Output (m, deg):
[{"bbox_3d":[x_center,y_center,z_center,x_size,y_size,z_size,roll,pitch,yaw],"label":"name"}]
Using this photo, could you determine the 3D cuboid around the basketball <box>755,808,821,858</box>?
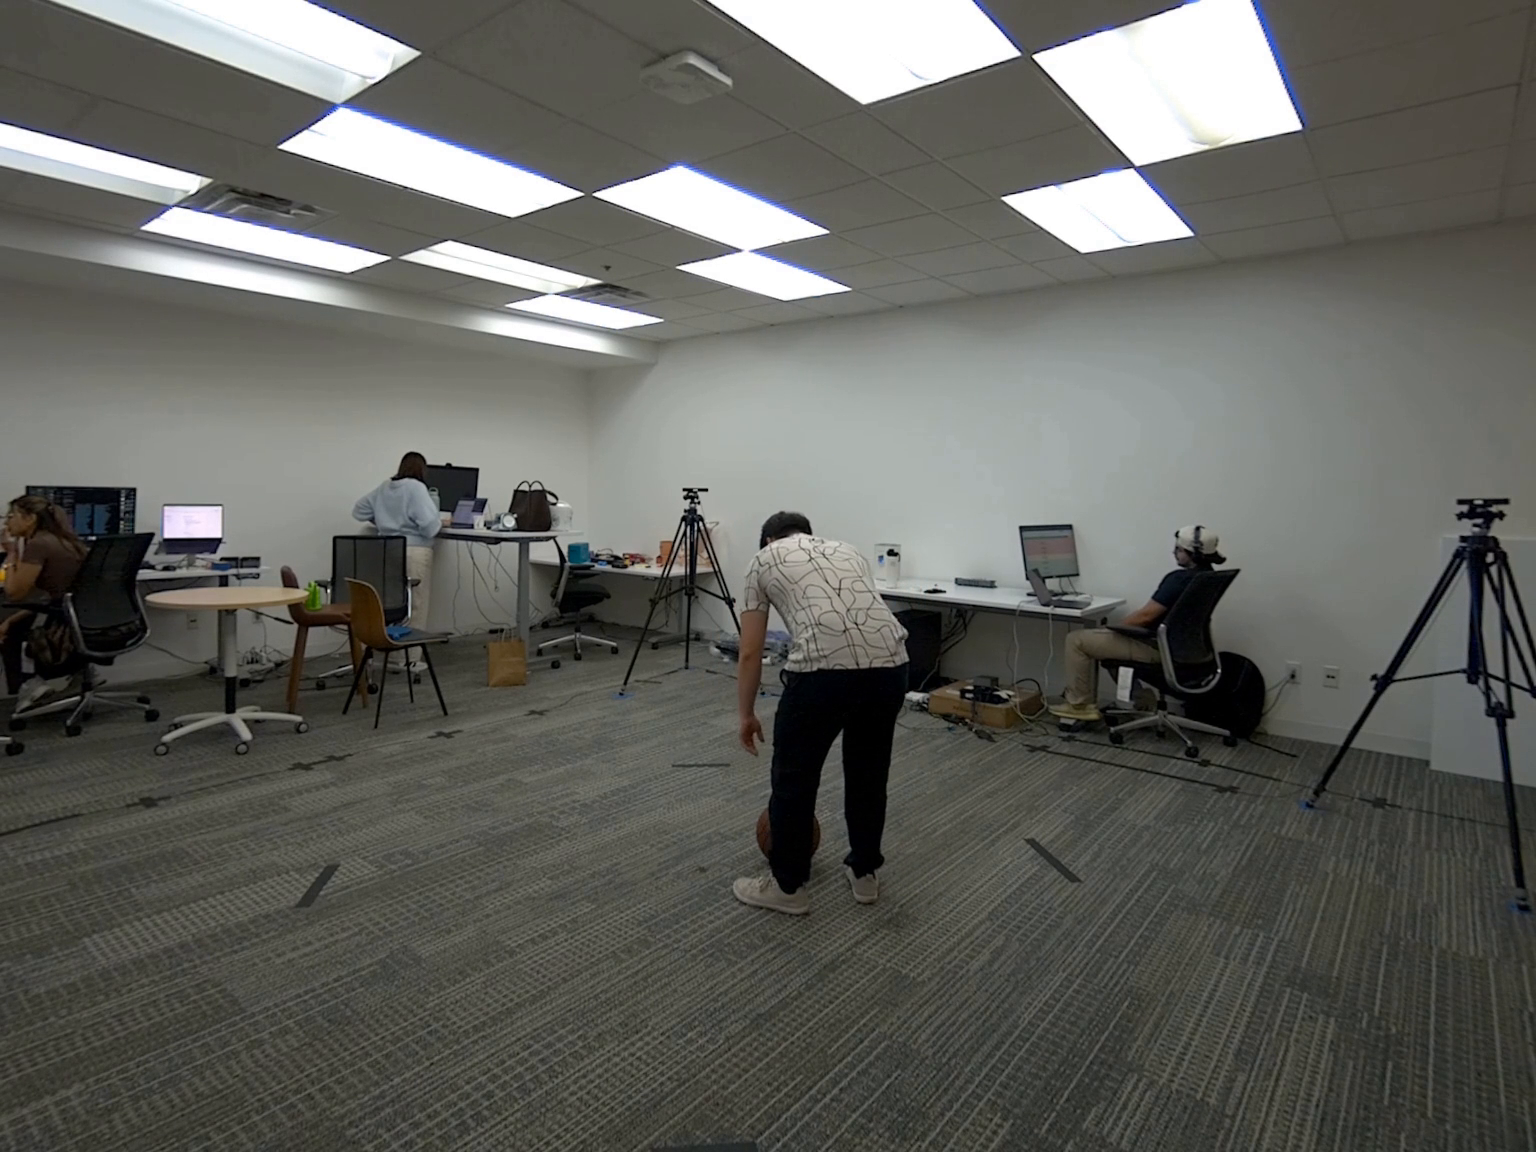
[{"bbox_3d":[0.070,0.946,3.159,0.235,0.235,0.237,1,4,-2],"label":"basketball"}]
